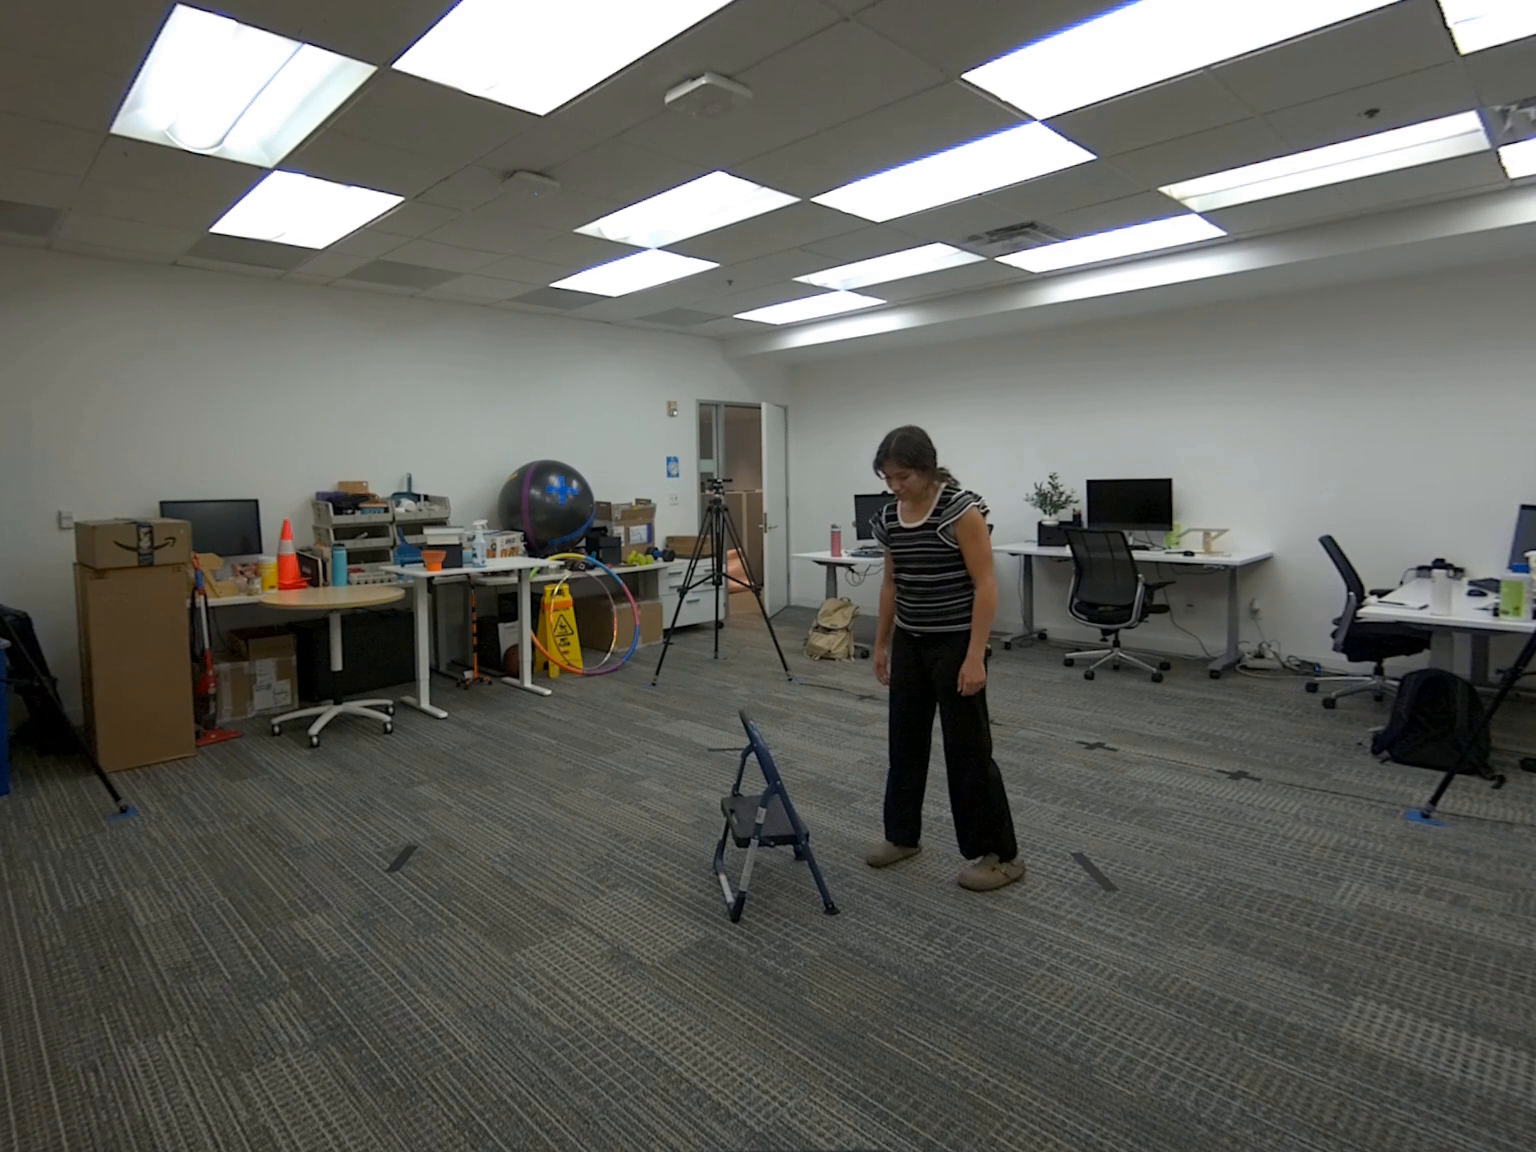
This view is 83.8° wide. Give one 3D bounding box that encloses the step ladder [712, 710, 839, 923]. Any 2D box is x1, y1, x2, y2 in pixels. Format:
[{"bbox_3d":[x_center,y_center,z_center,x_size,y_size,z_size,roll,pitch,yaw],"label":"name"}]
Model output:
[{"bbox_3d":[0.012,0.767,2.897,0.346,0.604,0.437,-1,4,-11],"label":"step ladder"}]
